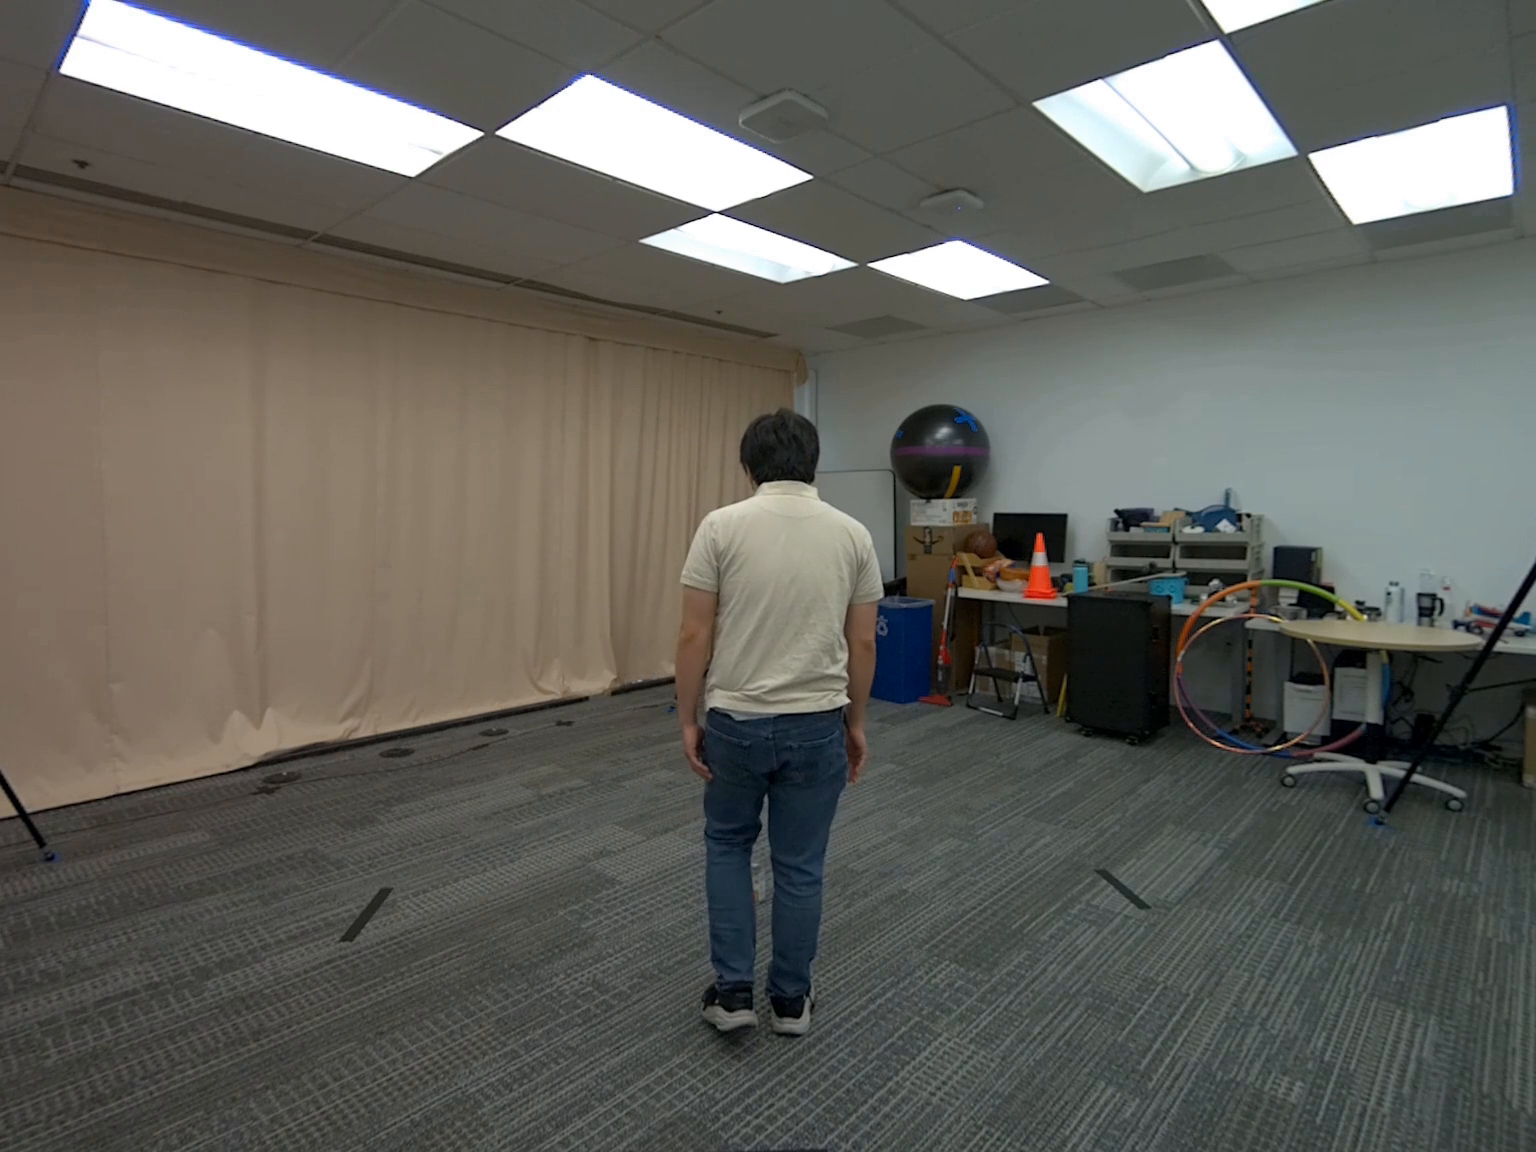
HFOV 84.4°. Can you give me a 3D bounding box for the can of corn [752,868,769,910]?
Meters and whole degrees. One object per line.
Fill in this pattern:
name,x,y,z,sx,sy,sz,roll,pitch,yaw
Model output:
can of corn,-0.039,1.101,2.982,0.074,0.110,0.074,1,7,-2
